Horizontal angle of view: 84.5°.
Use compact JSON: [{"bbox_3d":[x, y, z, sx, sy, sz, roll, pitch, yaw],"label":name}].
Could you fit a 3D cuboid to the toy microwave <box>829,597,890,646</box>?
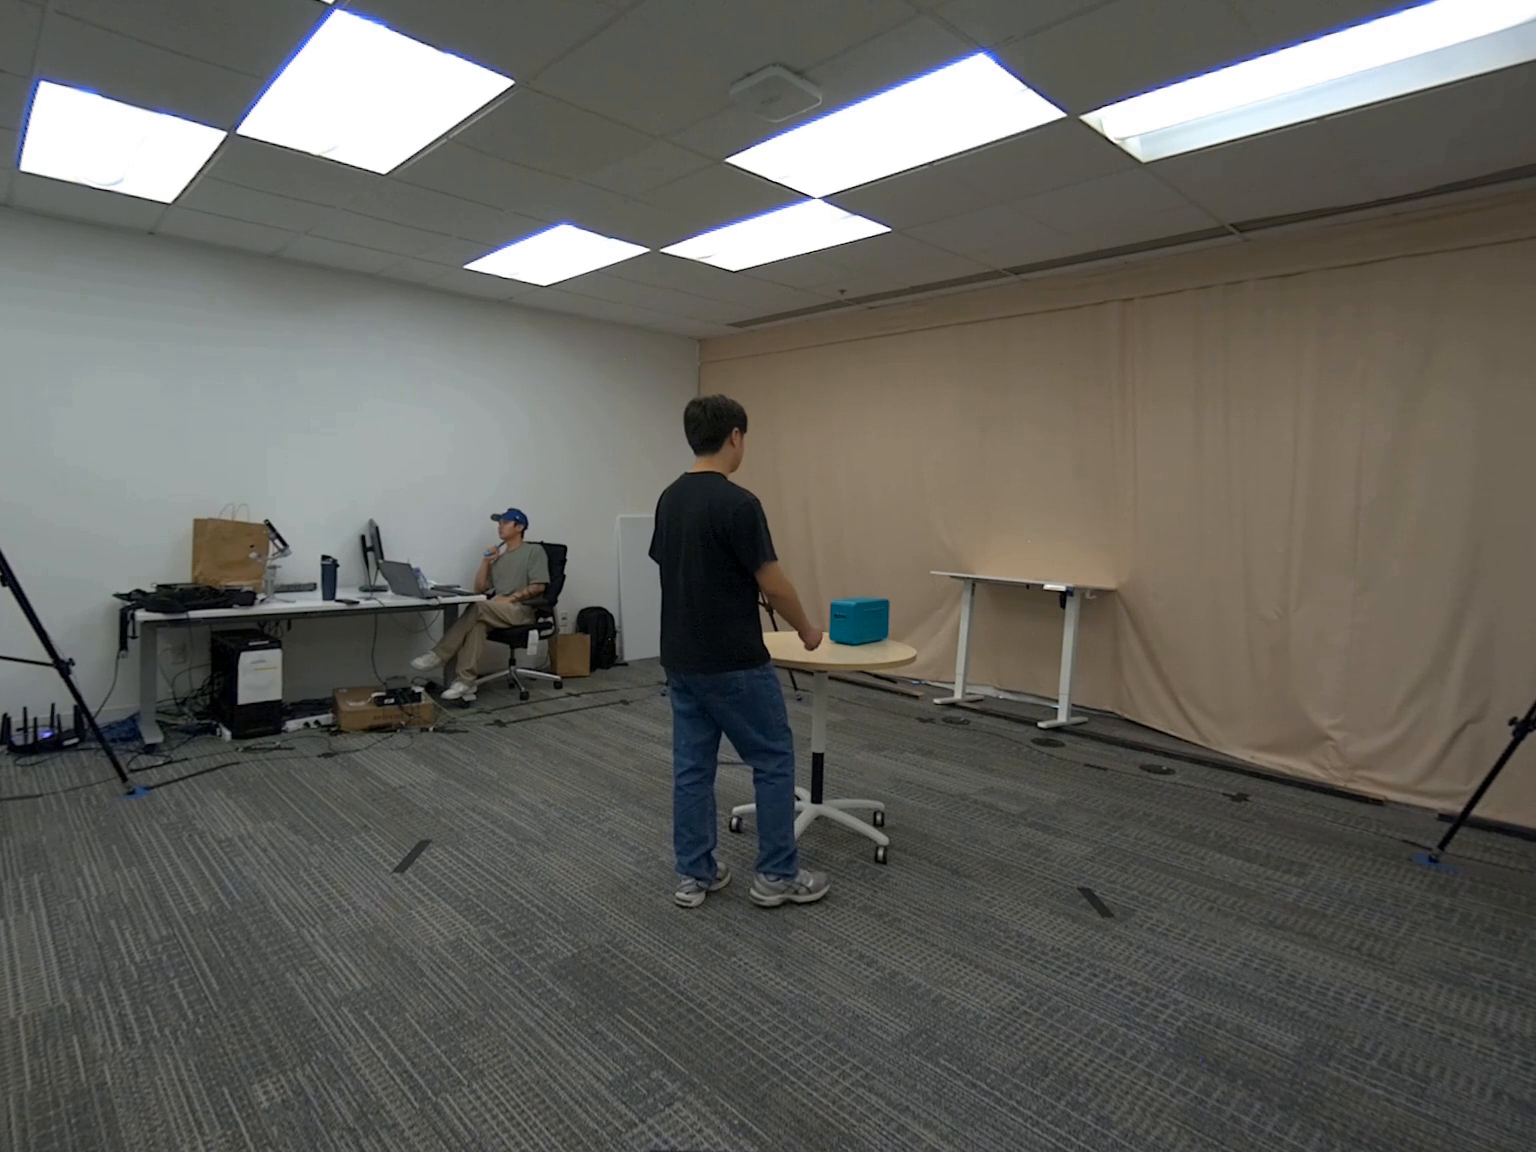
[{"bbox_3d":[0.382,0.190,3.619,0.156,0.184,0.280,4,5,40],"label":"toy microwave"}]
